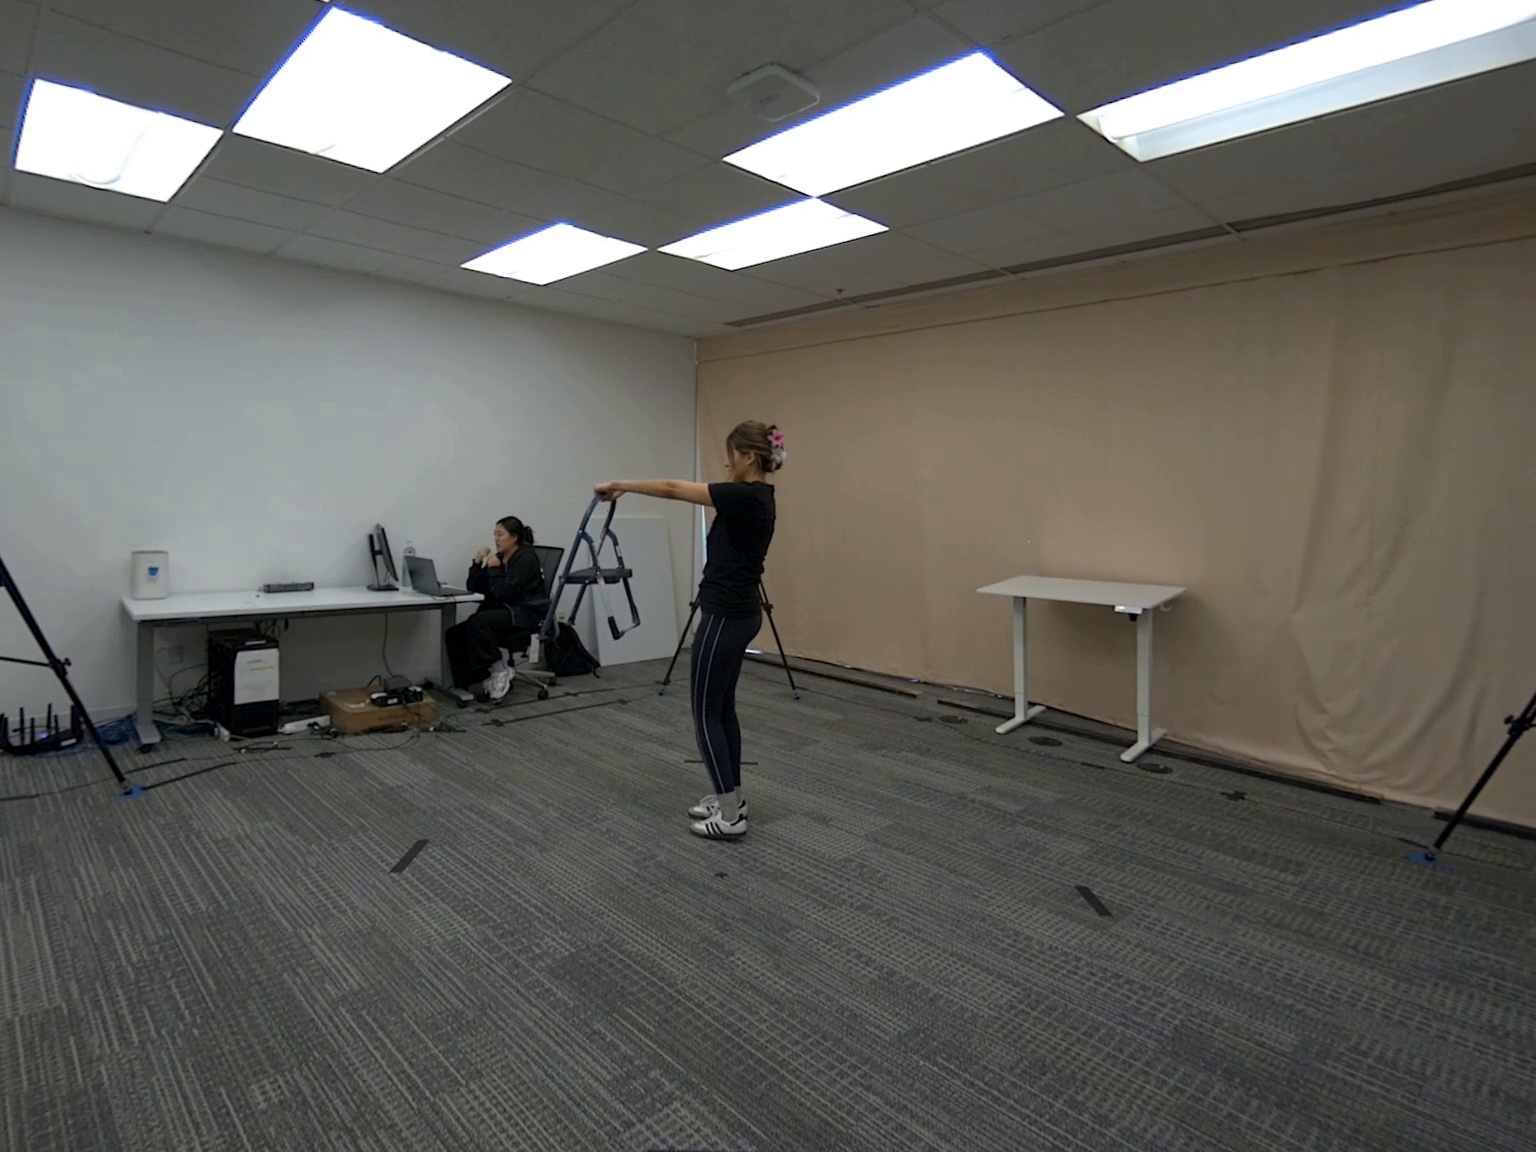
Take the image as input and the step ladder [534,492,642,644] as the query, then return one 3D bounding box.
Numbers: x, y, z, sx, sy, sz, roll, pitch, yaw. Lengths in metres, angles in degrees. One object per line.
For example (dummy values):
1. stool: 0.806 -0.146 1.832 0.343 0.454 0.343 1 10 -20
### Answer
1. step ladder: -0.762 -0.050 3.631 0.351 0.605 0.430 0 3 4
